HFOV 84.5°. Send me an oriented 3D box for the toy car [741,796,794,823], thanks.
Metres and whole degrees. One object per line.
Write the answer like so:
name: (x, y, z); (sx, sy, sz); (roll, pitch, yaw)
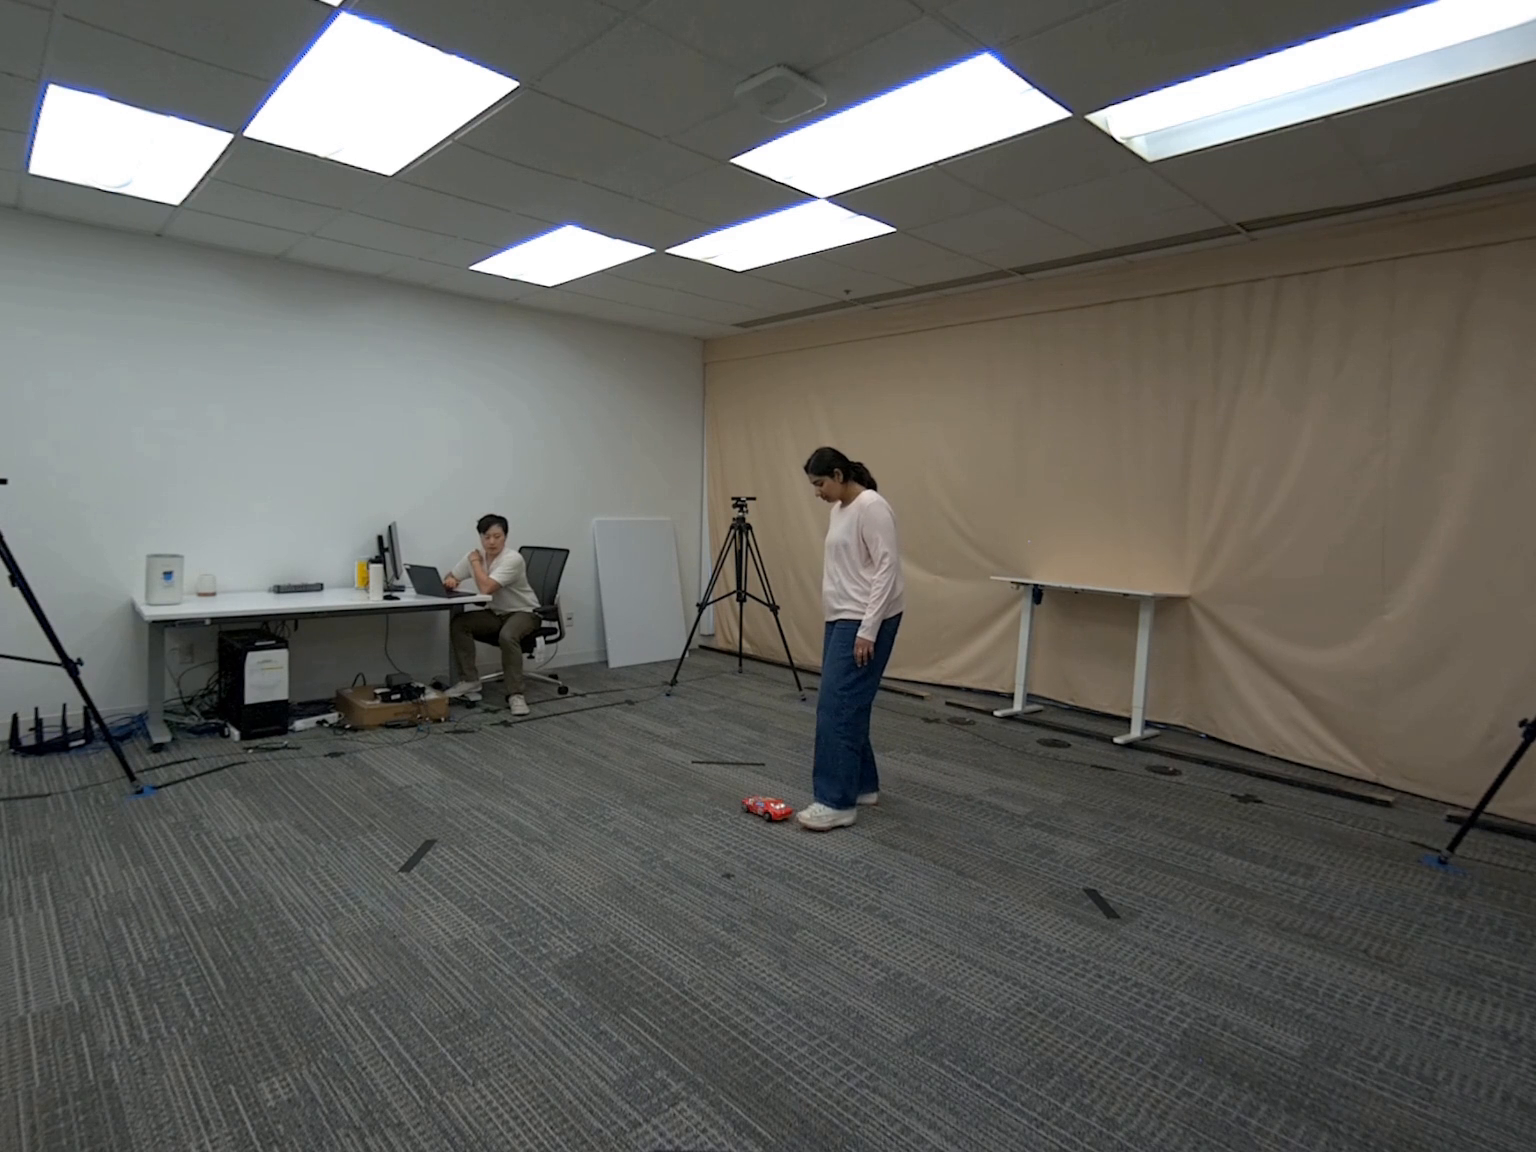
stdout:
toy car: (-0.008, 1.023, 3.716); (0.127, 0.083, 0.259); (-2, -5, -43)
